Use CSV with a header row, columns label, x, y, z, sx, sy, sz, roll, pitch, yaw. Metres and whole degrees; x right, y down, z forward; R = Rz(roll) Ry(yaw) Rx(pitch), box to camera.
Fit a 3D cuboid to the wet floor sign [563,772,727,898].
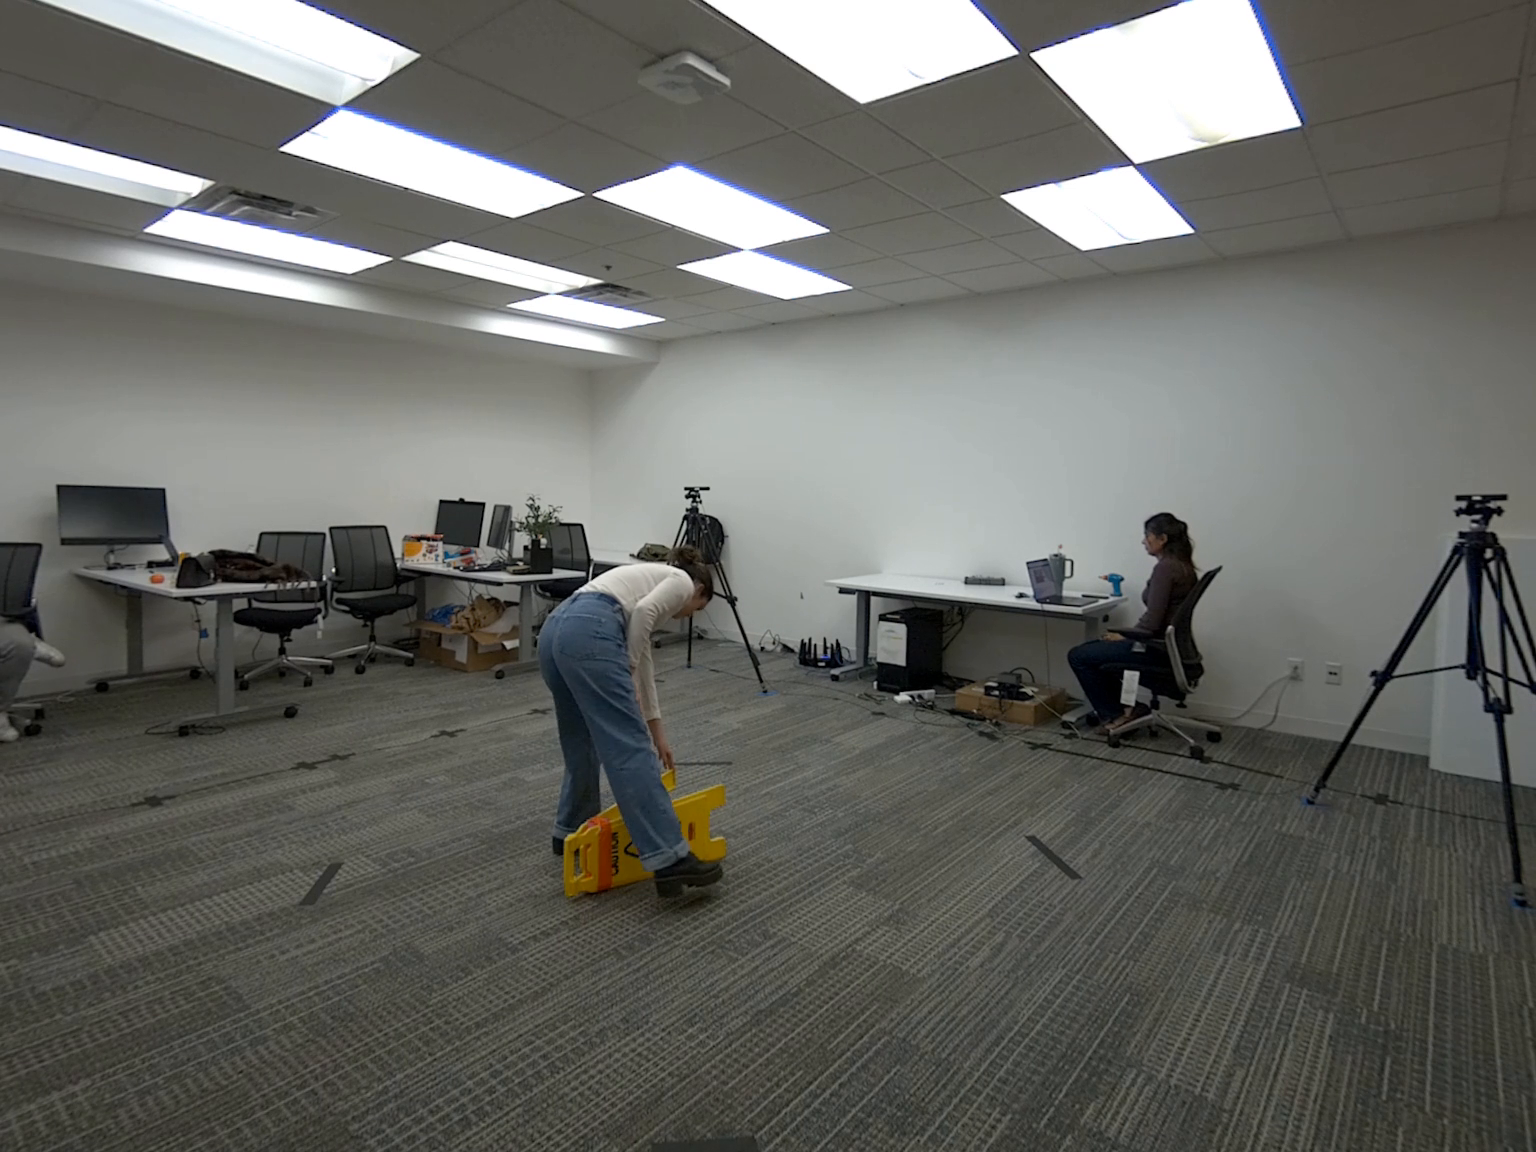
label,x,y,z,sx,sy,sz,roll,pitch,yaw
wet floor sign,-0.473,0.938,3.053,0.299,0.281,0.628,3,7,41
